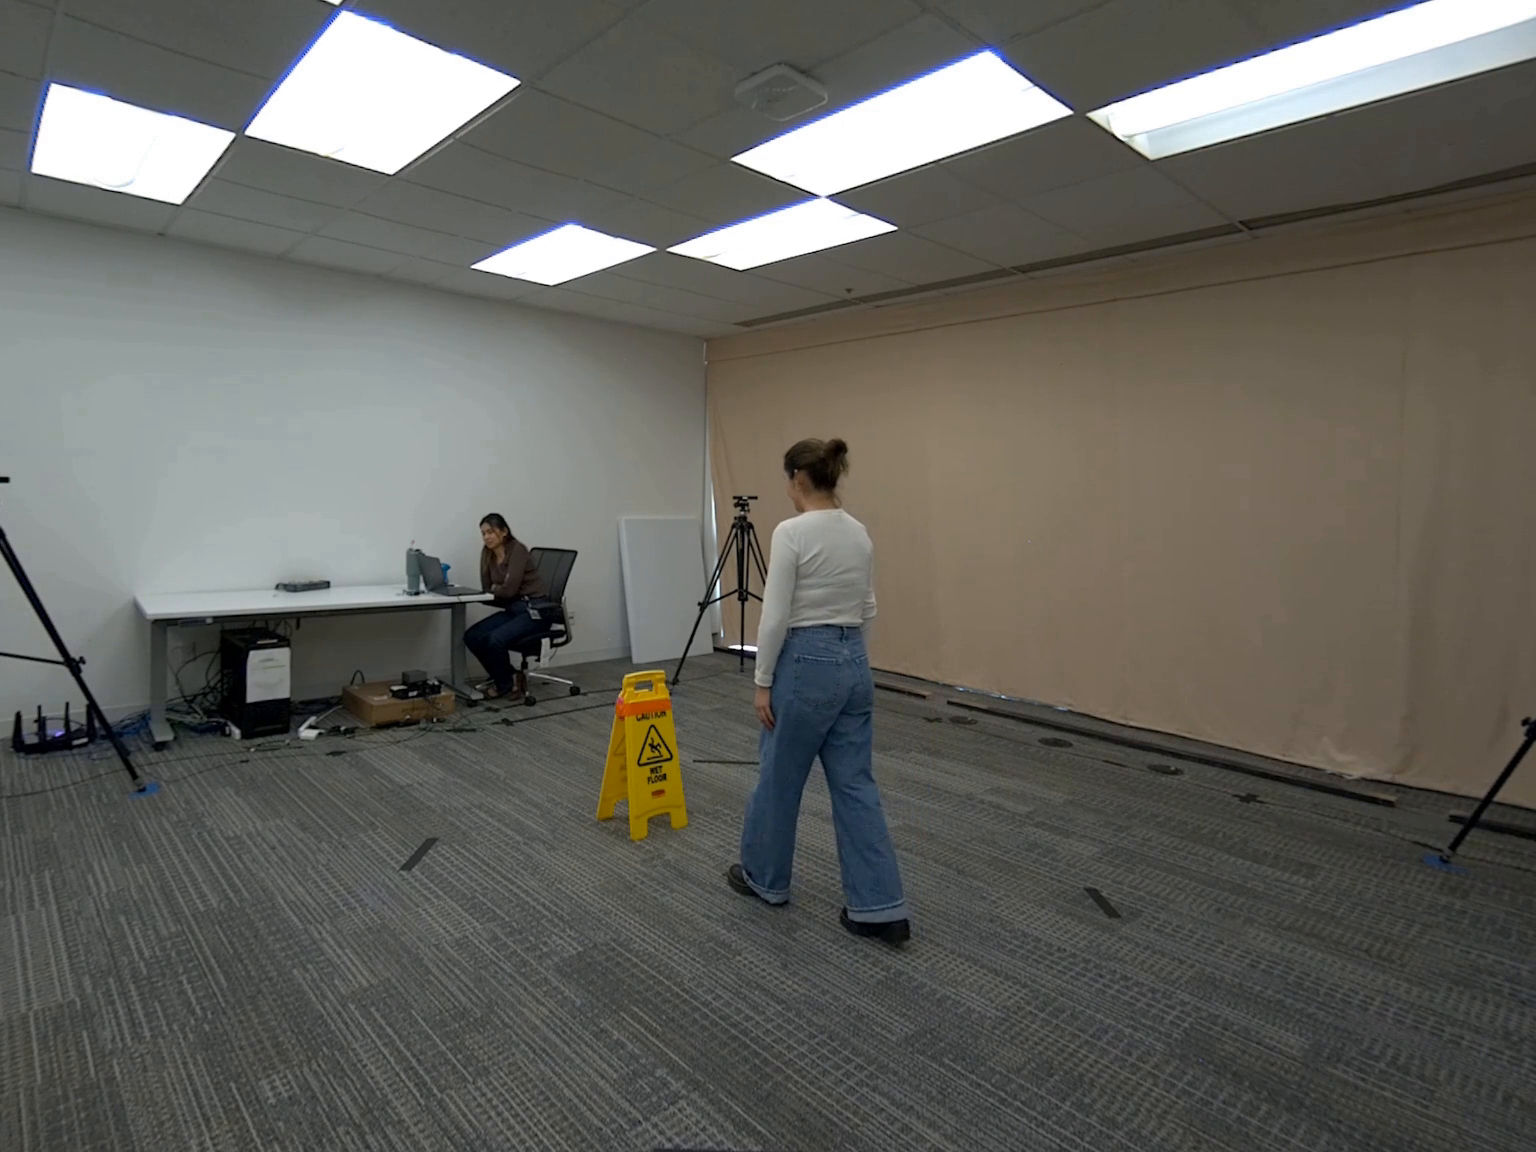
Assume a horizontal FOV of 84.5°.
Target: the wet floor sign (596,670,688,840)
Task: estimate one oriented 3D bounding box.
[{"bbox_3d":[-0.540,0.729,3.568,0.275,0.645,0.297,0,3,-41],"label":"wet floor sign"}]
